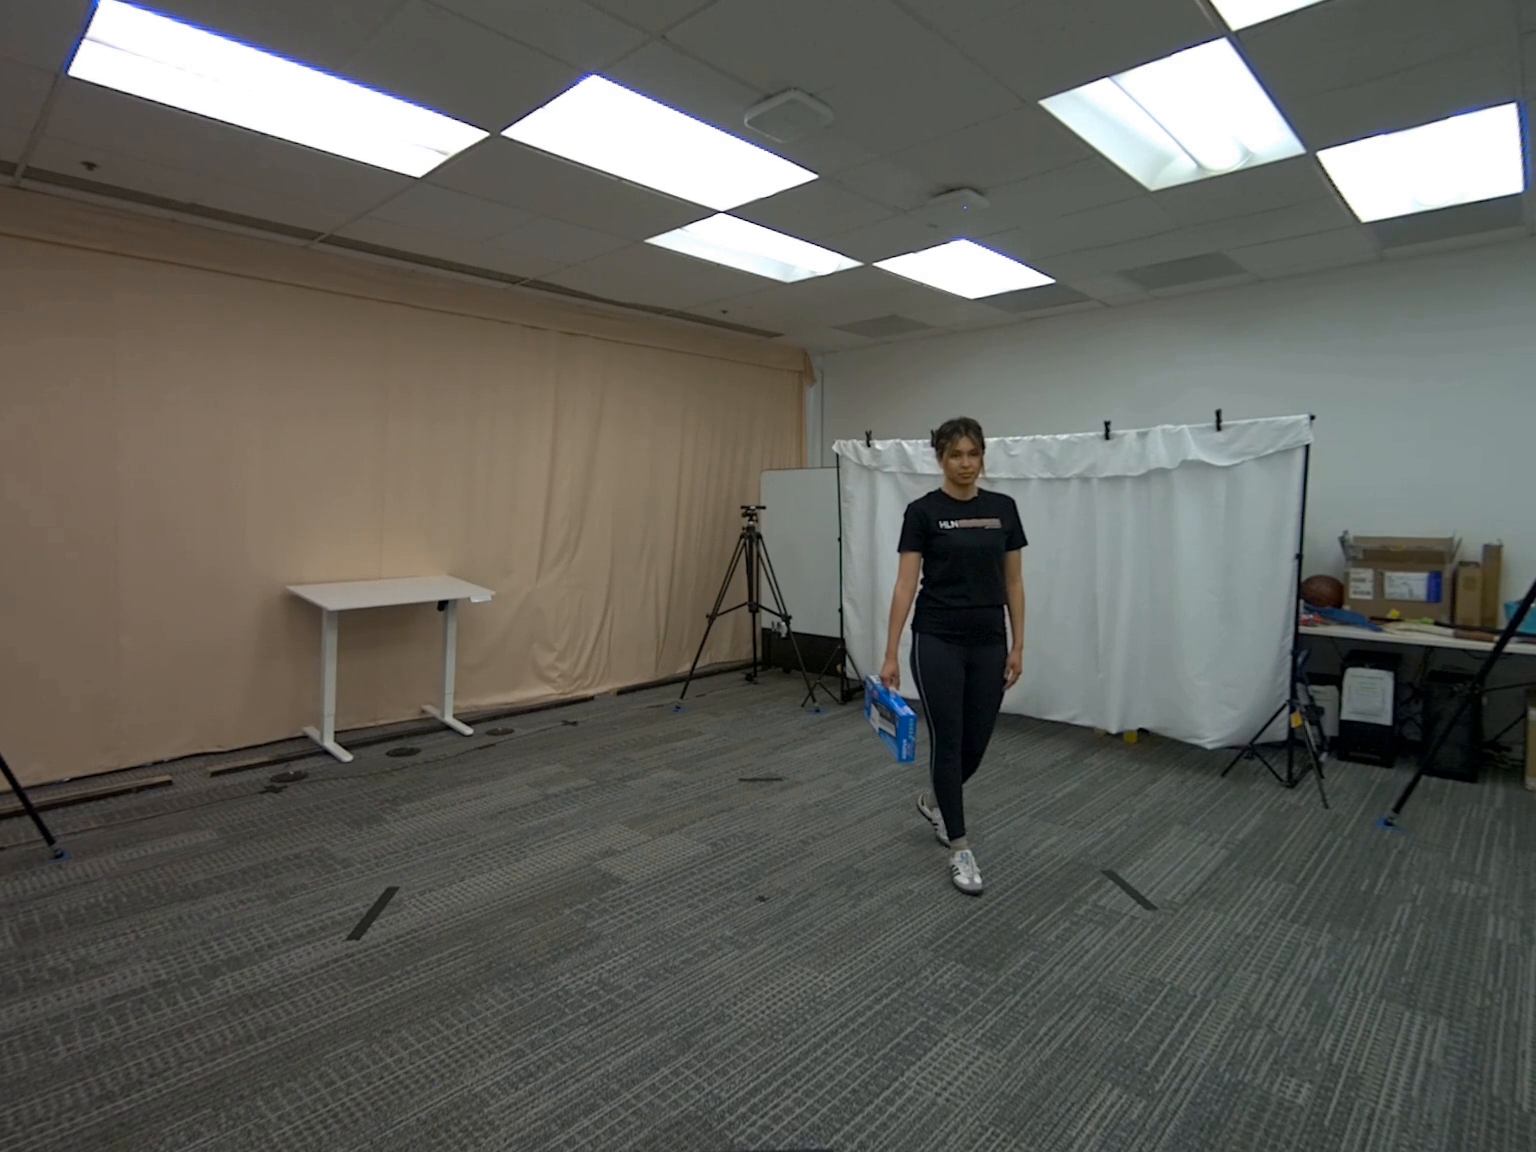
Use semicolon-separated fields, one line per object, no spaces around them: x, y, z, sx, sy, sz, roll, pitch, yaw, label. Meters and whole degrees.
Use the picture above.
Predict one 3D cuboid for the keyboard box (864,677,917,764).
0.451;0.519;3.131;0.058;0.175;0.443;-1;11;-9;keyboard box
